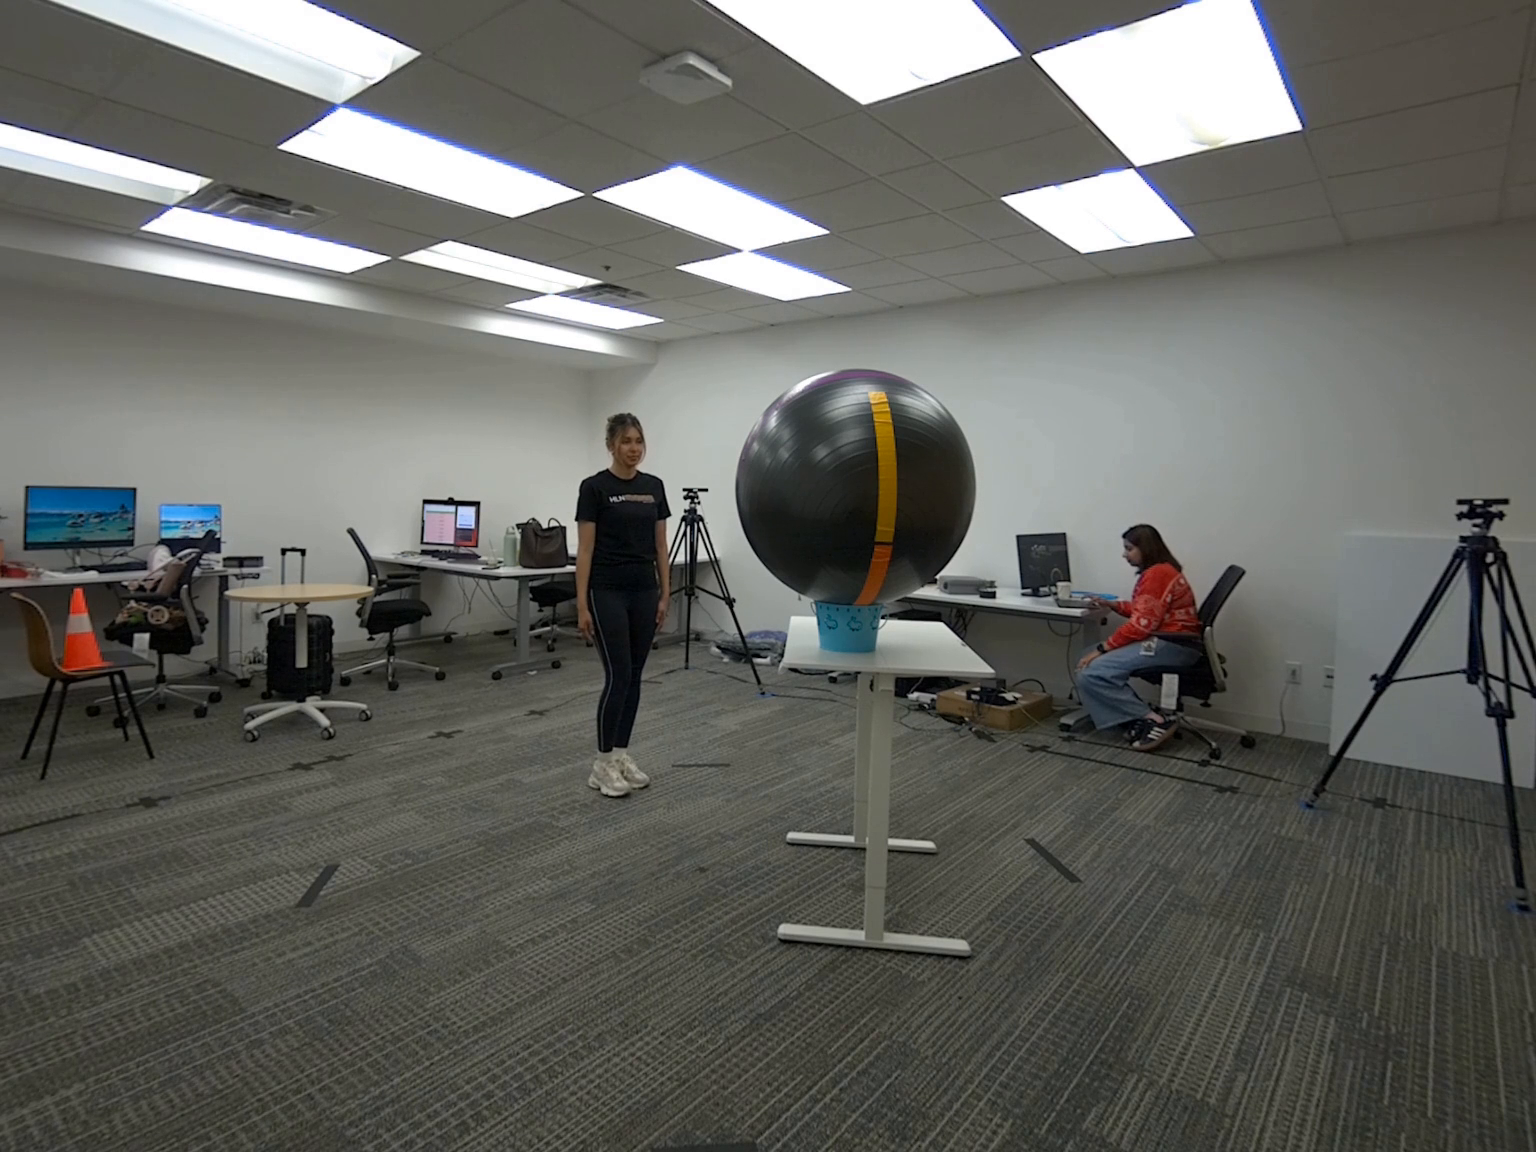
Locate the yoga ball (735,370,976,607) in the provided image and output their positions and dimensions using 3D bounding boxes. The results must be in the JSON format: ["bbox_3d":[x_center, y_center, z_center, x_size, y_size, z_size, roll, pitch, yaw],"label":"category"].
[{"bbox_3d":[0.265,-0.276,2.727,0.757,0.756,0.762,1,4,-2],"label":"yoga ball"}]
